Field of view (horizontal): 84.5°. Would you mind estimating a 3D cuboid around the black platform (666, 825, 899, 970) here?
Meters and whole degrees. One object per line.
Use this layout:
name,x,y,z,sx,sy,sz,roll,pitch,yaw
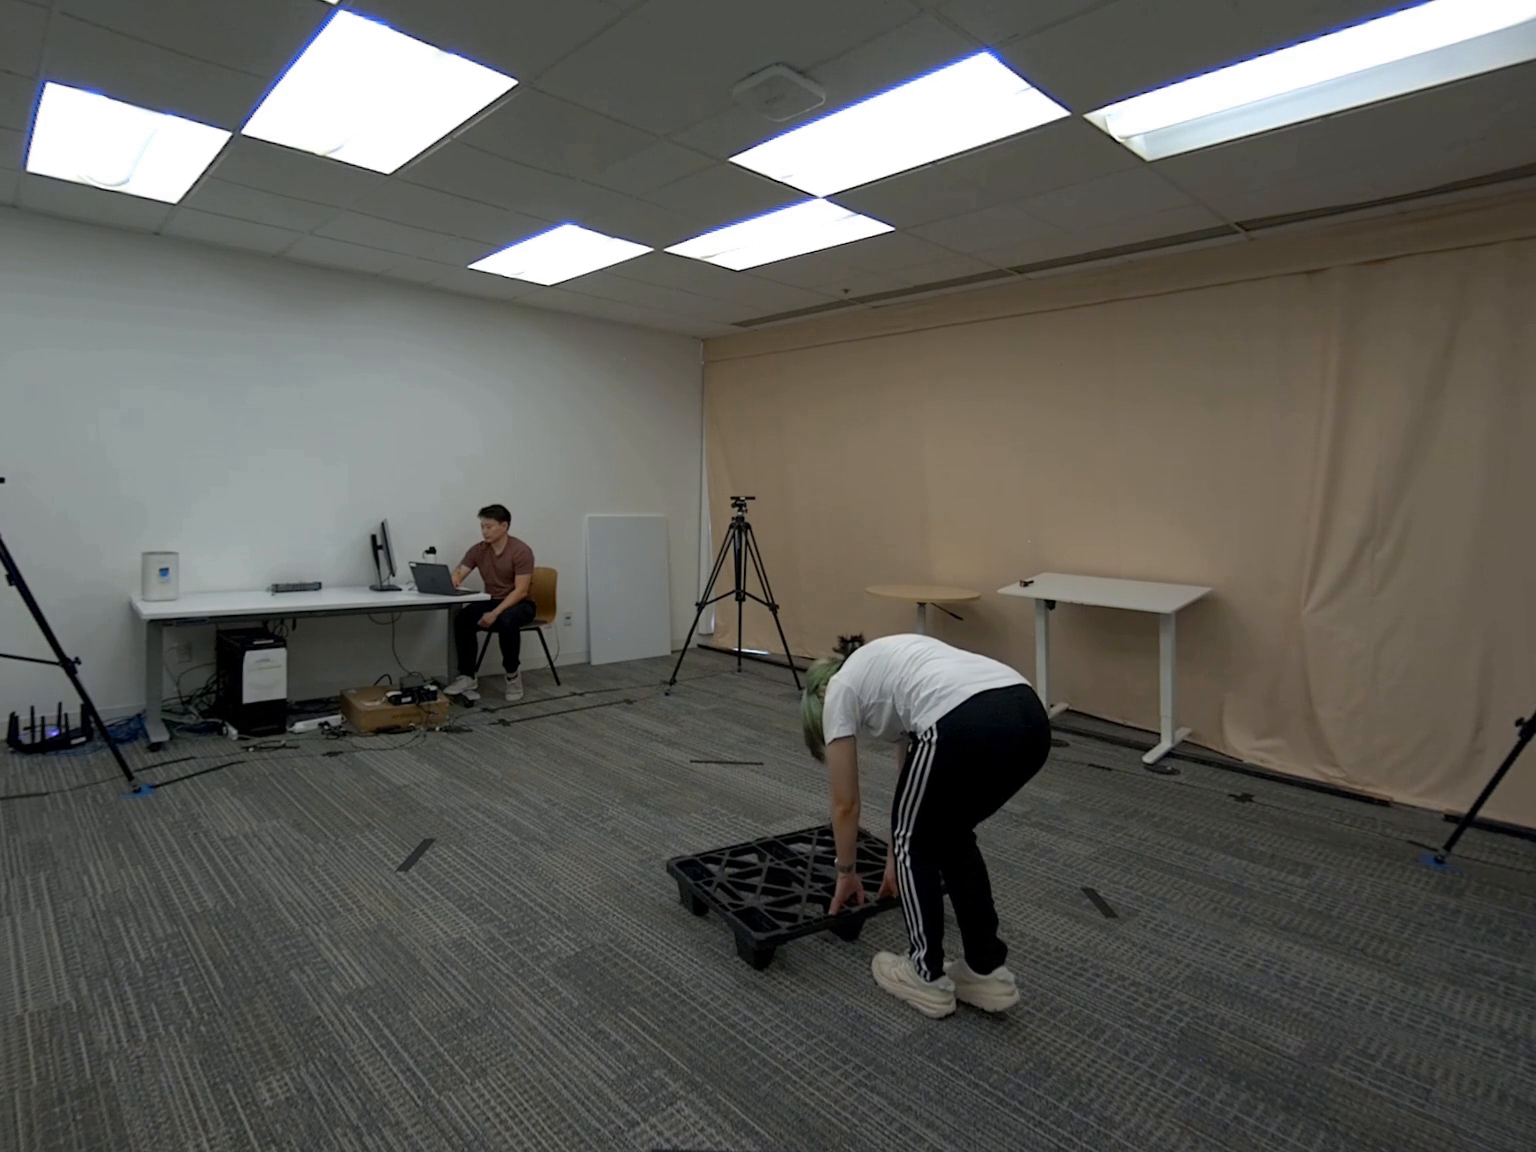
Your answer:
black platform,0.134,1.067,2.860,0.789,0.143,0.620,-2,7,-32
